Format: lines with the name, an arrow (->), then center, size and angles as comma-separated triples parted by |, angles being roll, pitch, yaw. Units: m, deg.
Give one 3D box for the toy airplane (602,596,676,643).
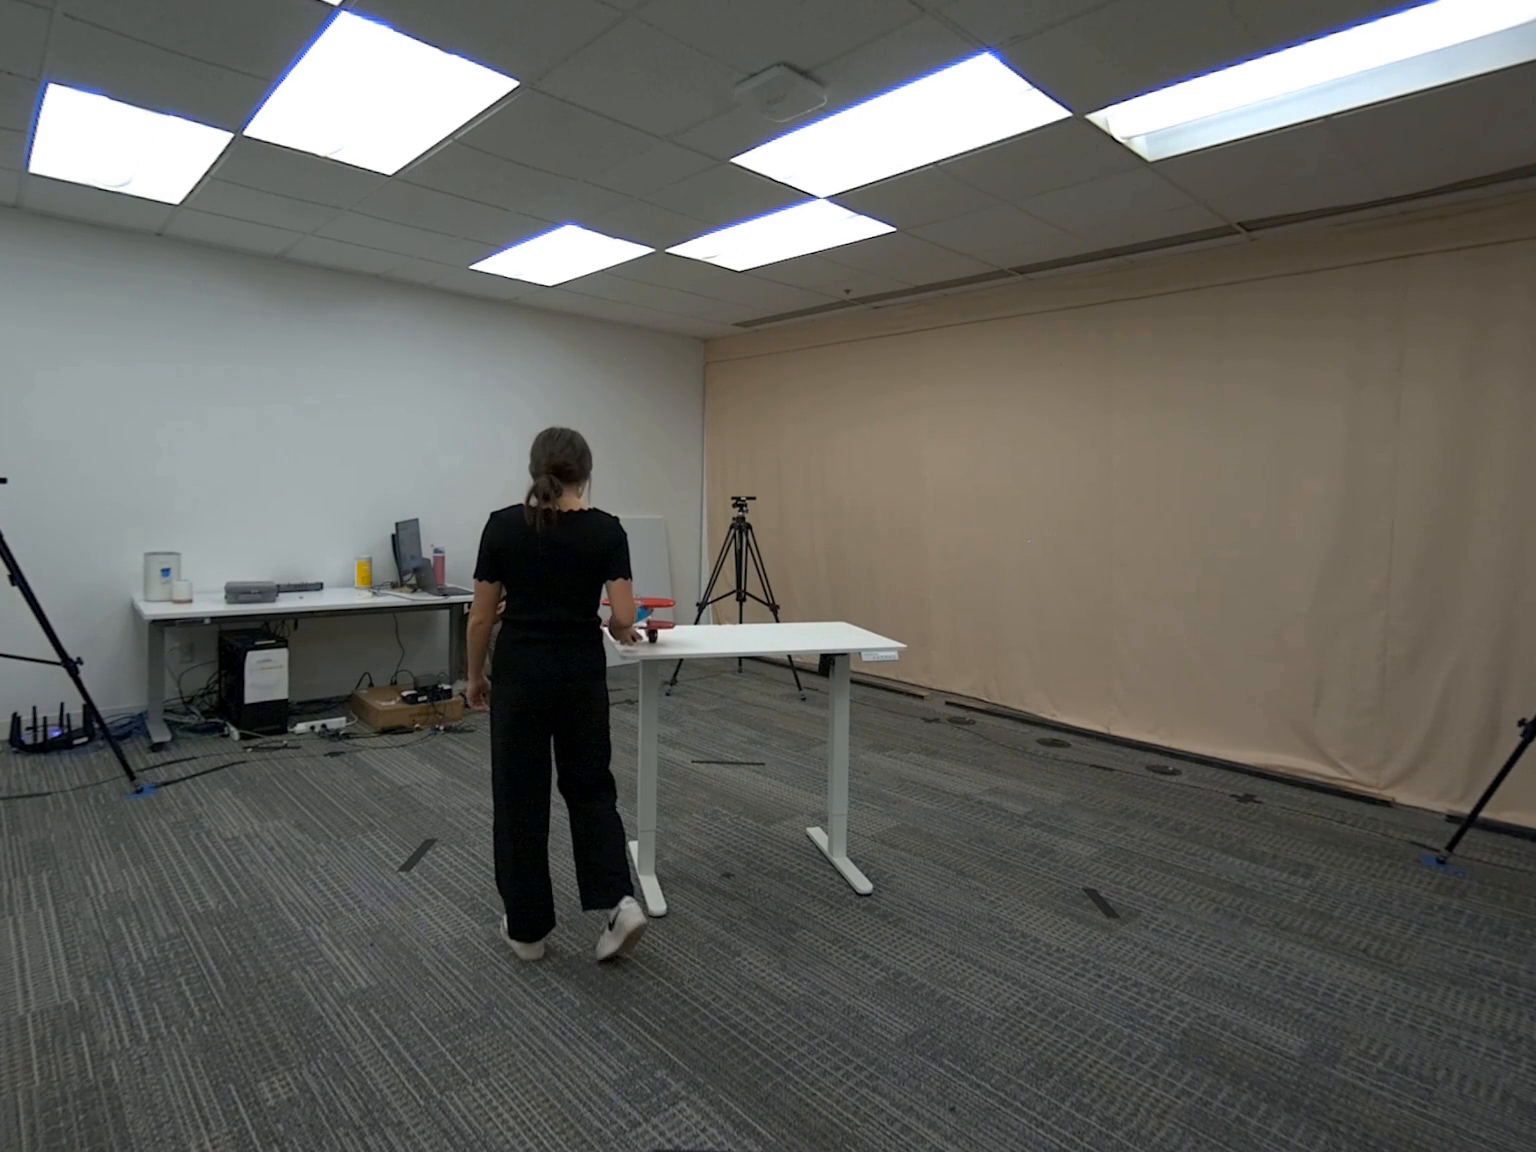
toy airplane -> -0.436, 0.151, 2.873 | 0.247, 0.157, 0.262 | 4, -6, -22
